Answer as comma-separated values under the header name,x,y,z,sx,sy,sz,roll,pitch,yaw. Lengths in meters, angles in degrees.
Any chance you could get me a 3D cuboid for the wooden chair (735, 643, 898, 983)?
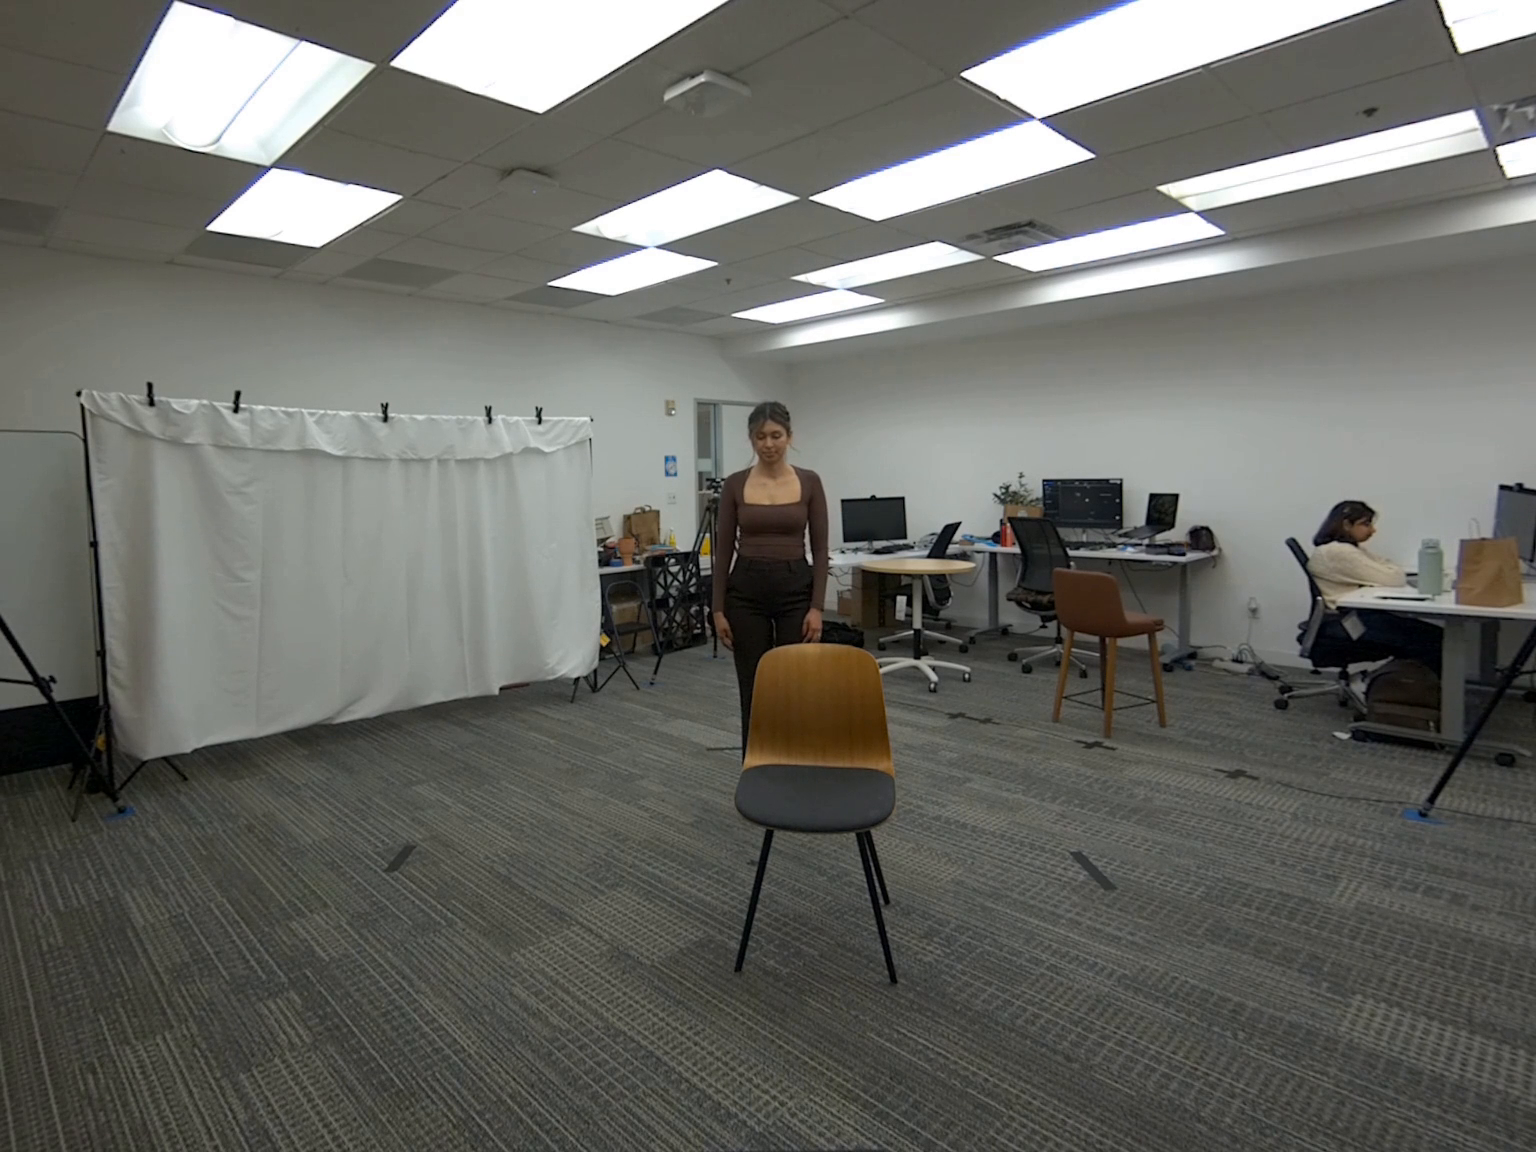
name,x,y,z,sx,sy,sz,roll,pitch,yaw
wooden chair,0.142,0.673,2.564,0.482,0.878,0.519,0,0,8
